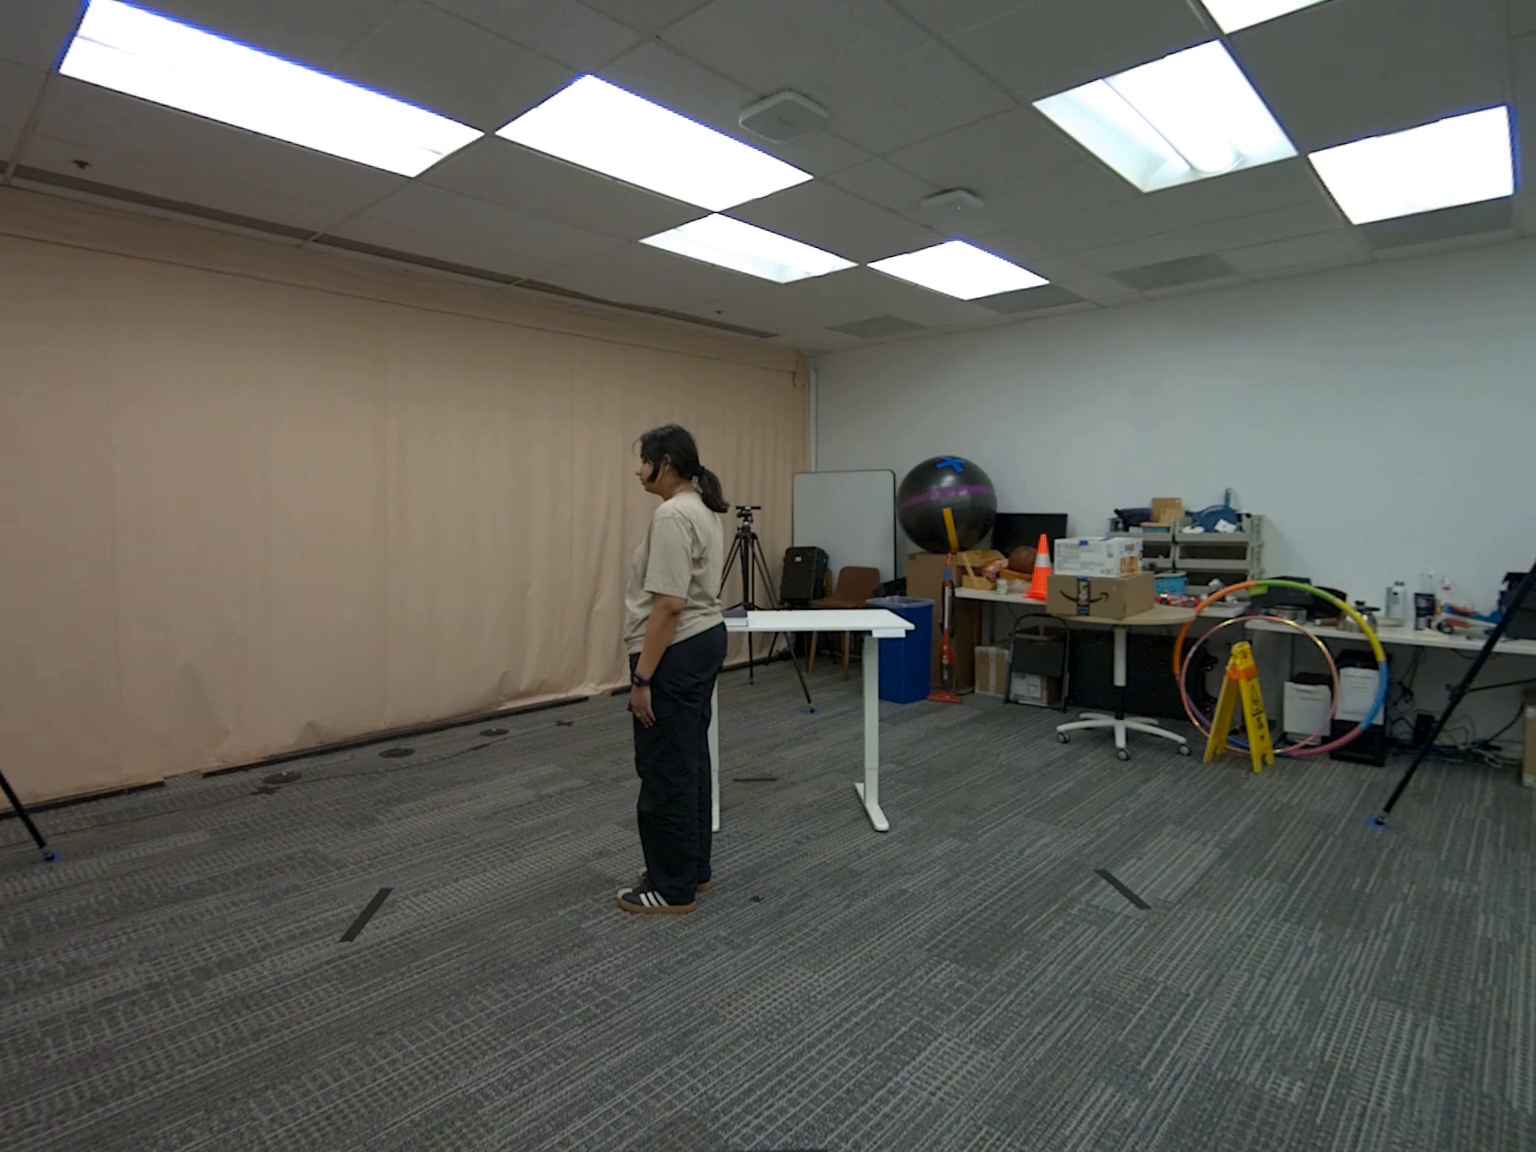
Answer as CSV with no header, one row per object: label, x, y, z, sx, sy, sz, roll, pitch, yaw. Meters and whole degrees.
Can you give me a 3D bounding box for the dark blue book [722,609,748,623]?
dark blue book,-0.178,0.184,3.700,0.163,0.045,0.245,1,4,0
